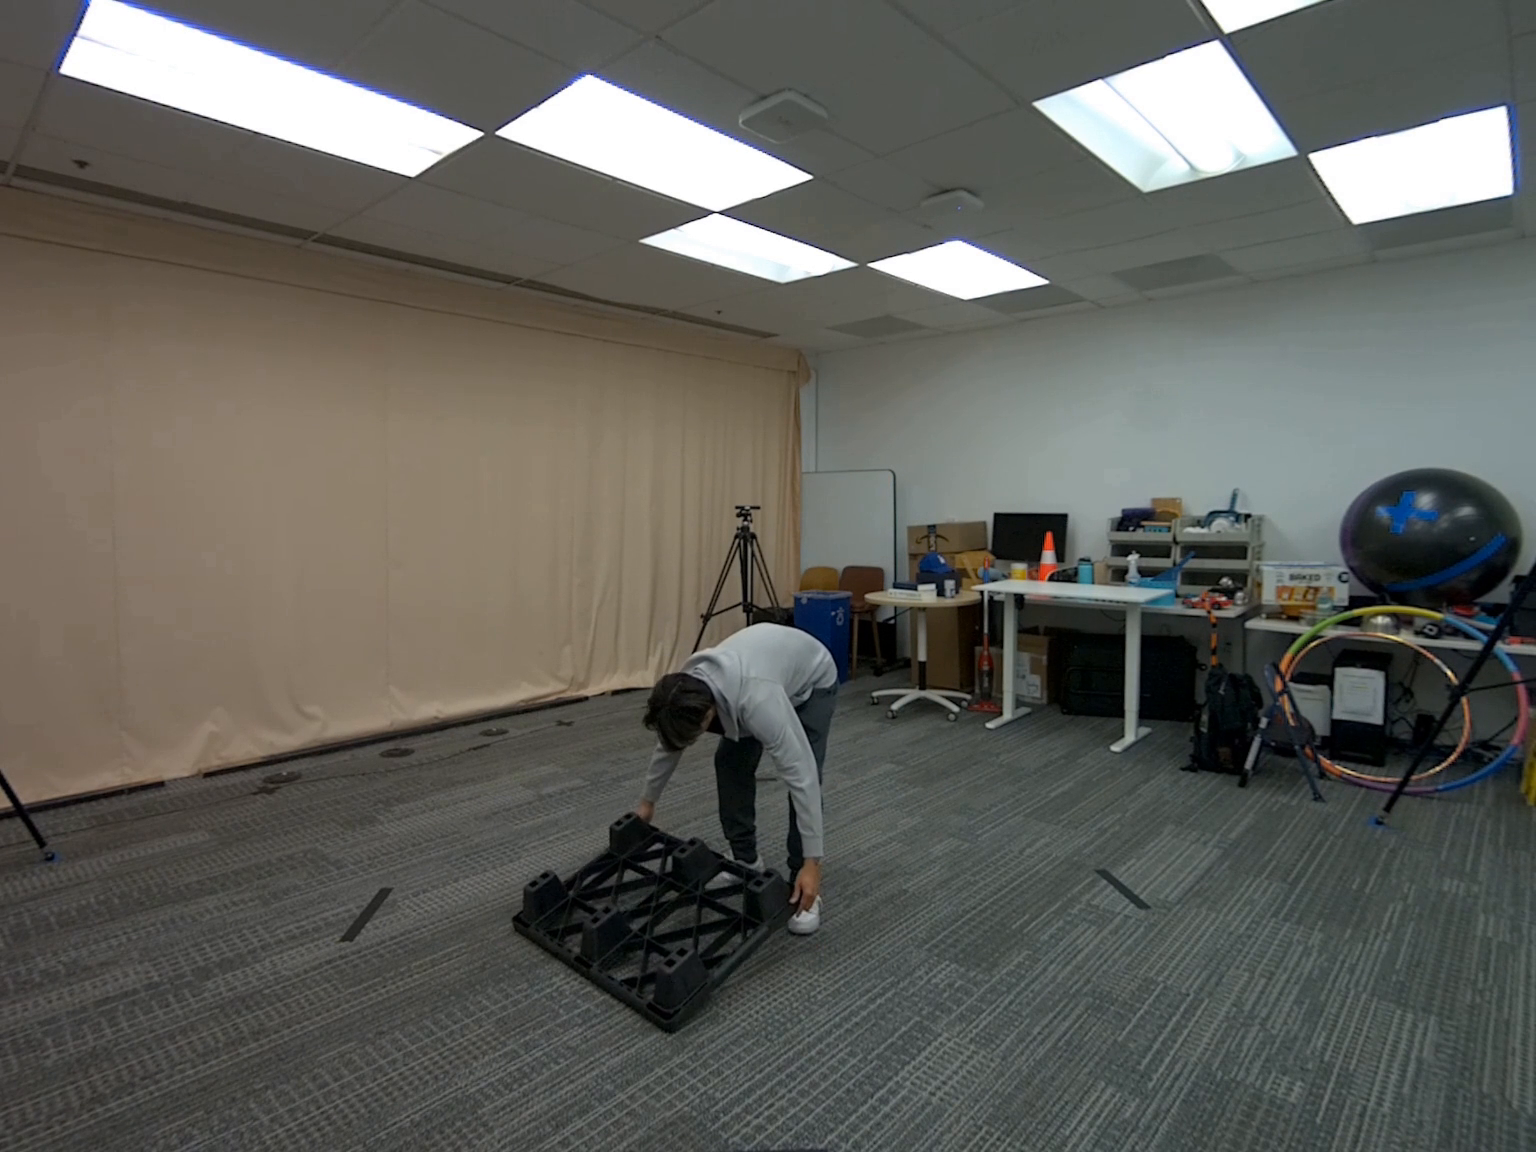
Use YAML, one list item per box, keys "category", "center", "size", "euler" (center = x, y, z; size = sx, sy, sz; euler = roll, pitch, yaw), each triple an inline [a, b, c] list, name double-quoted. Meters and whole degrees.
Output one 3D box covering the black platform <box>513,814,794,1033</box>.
- category: "black platform"
  center: [-0.366, 1.023, 2.673]
  size: [0.833, 0.141, 0.593]
  euler: [4, 24, 43]
